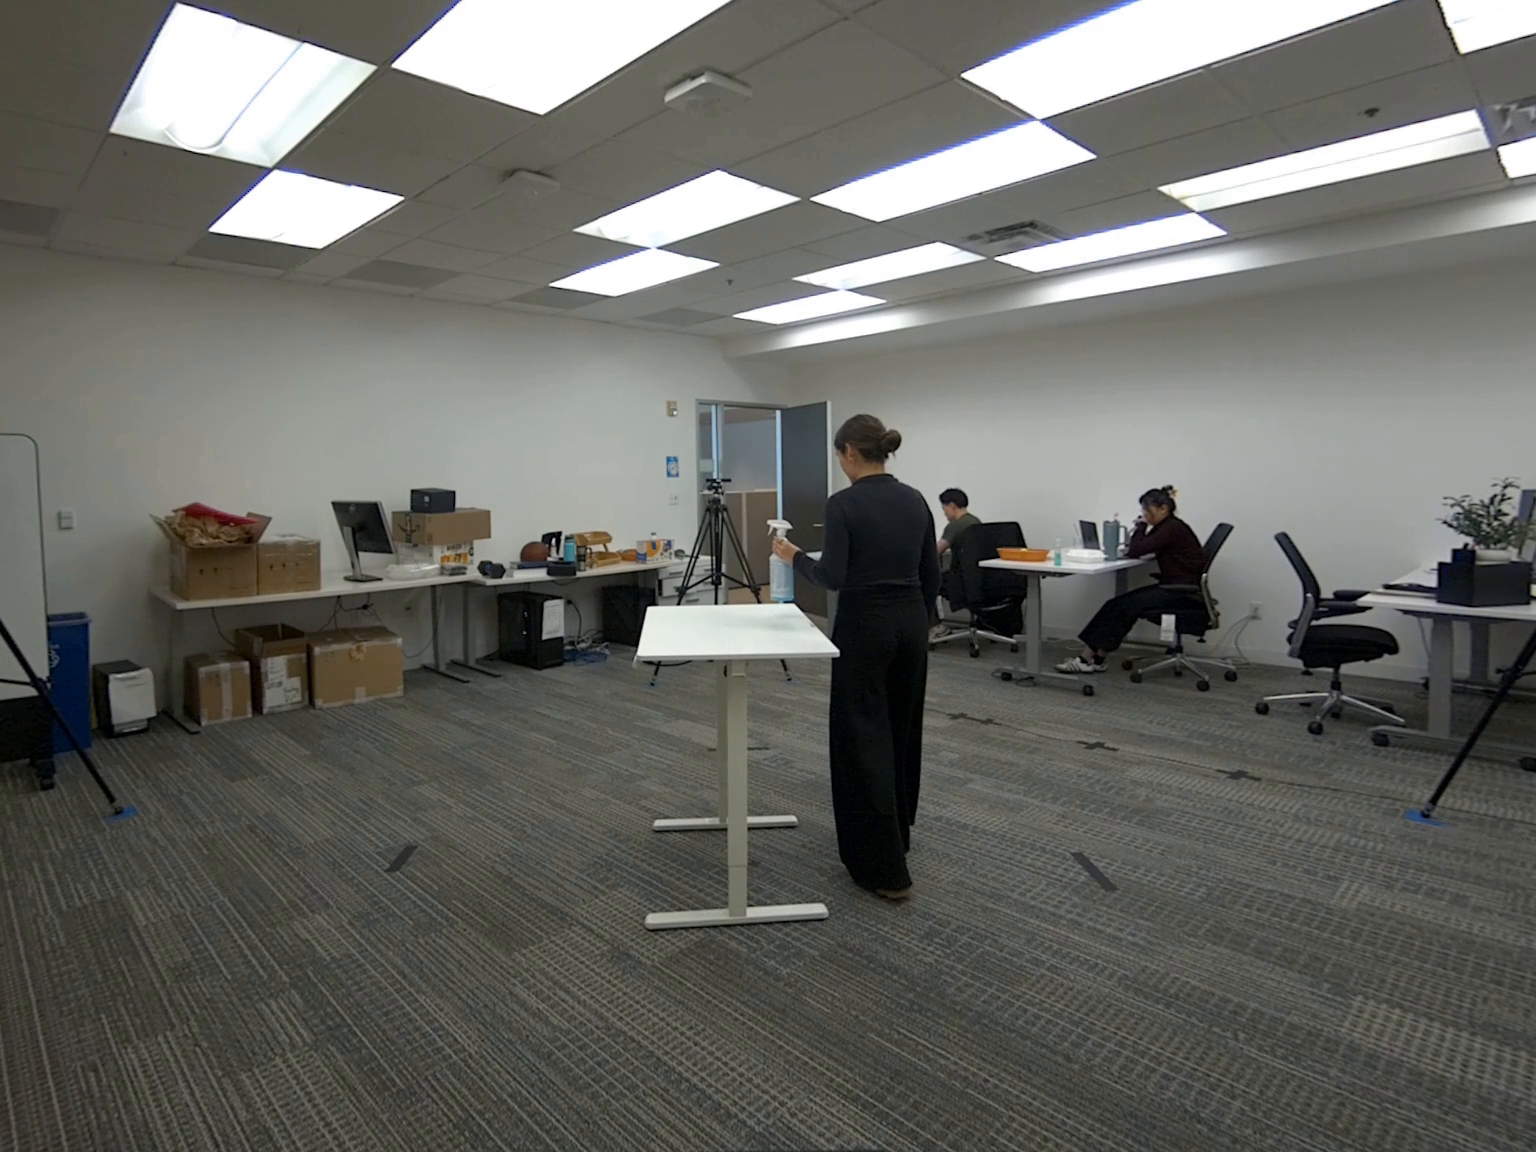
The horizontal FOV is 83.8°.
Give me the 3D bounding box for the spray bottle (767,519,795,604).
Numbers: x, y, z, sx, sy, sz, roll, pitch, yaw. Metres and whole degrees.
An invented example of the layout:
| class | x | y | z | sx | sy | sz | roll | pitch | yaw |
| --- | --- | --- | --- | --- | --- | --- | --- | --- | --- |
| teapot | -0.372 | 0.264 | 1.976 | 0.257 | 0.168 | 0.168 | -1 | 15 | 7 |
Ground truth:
| class | x | y | z | sx | sy | sz | roll | pitch | yaw |
| --- | --- | --- | --- | --- | --- | --- | --- | --- | --- |
| spray bottle | 0.062 | -0.060 | 3.173 | 0.092 | 0.297 | 0.085 | 1 | 3 | 32 |
